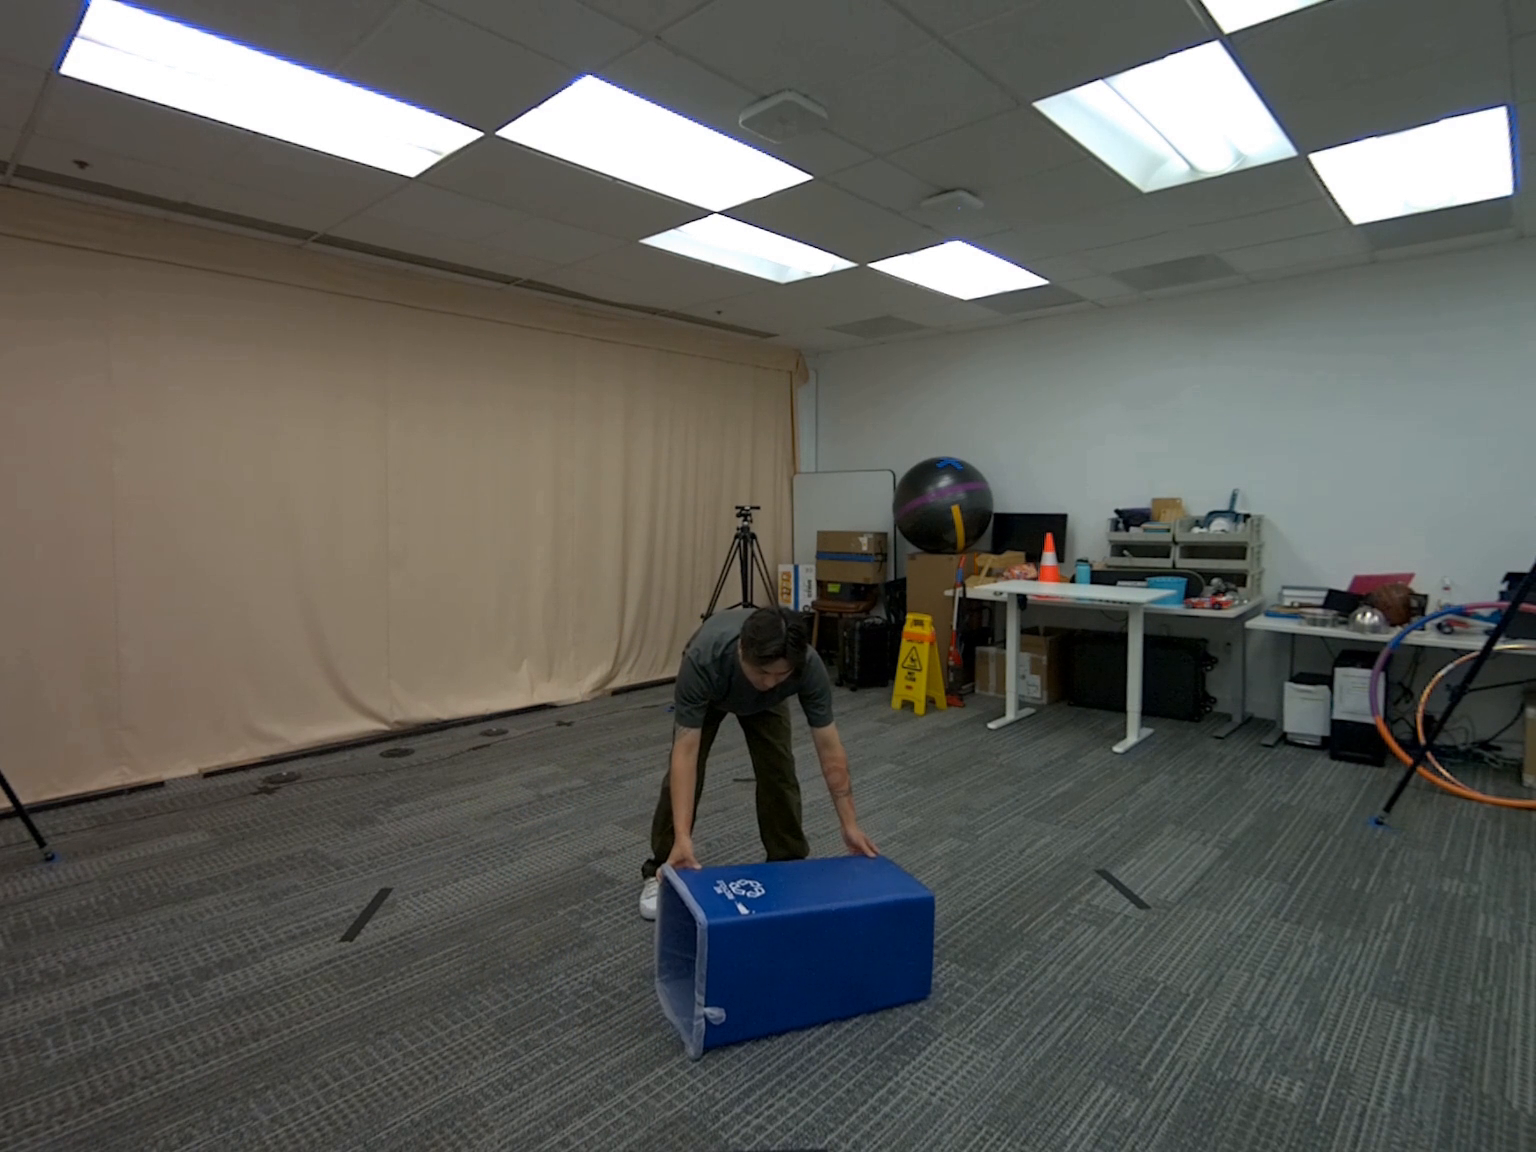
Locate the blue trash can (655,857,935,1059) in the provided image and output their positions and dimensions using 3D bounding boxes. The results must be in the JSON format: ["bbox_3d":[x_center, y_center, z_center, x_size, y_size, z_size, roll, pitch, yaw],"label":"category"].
[{"bbox_3d":[0.088,1.020,2.381,0.698,0.374,0.387,0,2,-22],"label":"blue trash can"}]
